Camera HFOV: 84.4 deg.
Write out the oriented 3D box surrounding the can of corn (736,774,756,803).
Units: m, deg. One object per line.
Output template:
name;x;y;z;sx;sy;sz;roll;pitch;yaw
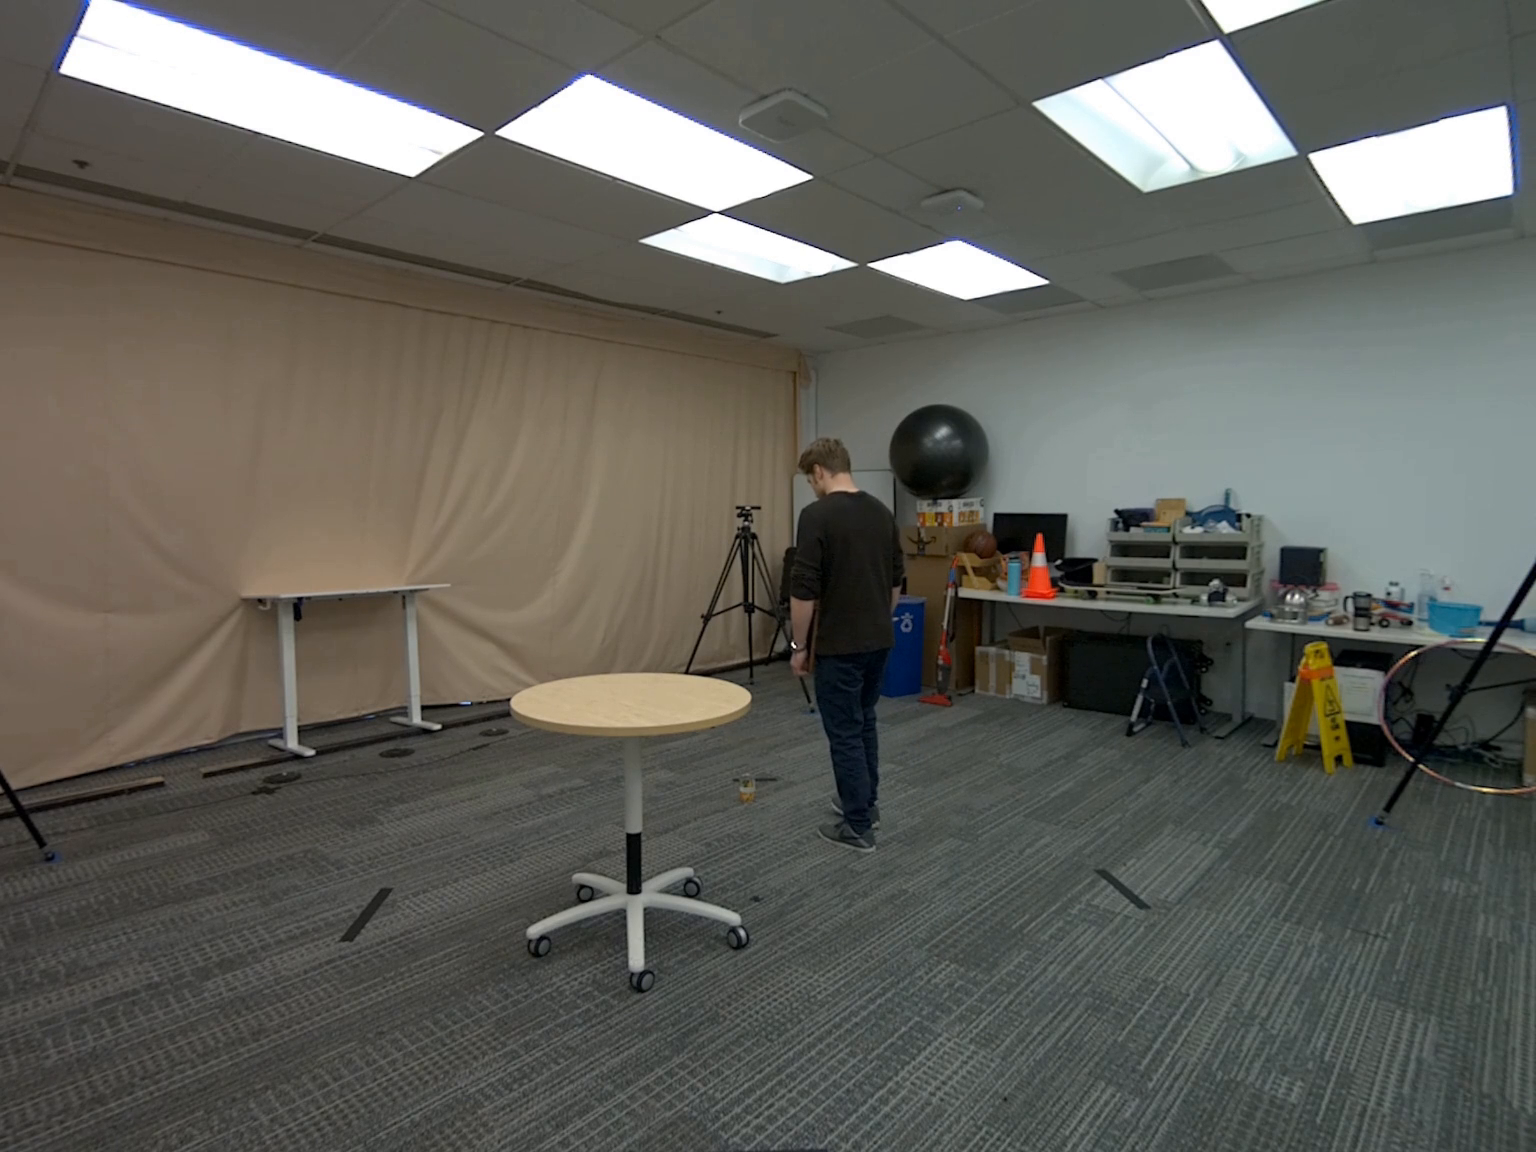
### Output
can of corn;-0.095;1.009;4.009;0.074;0.111;0.074;0;-3;-2
